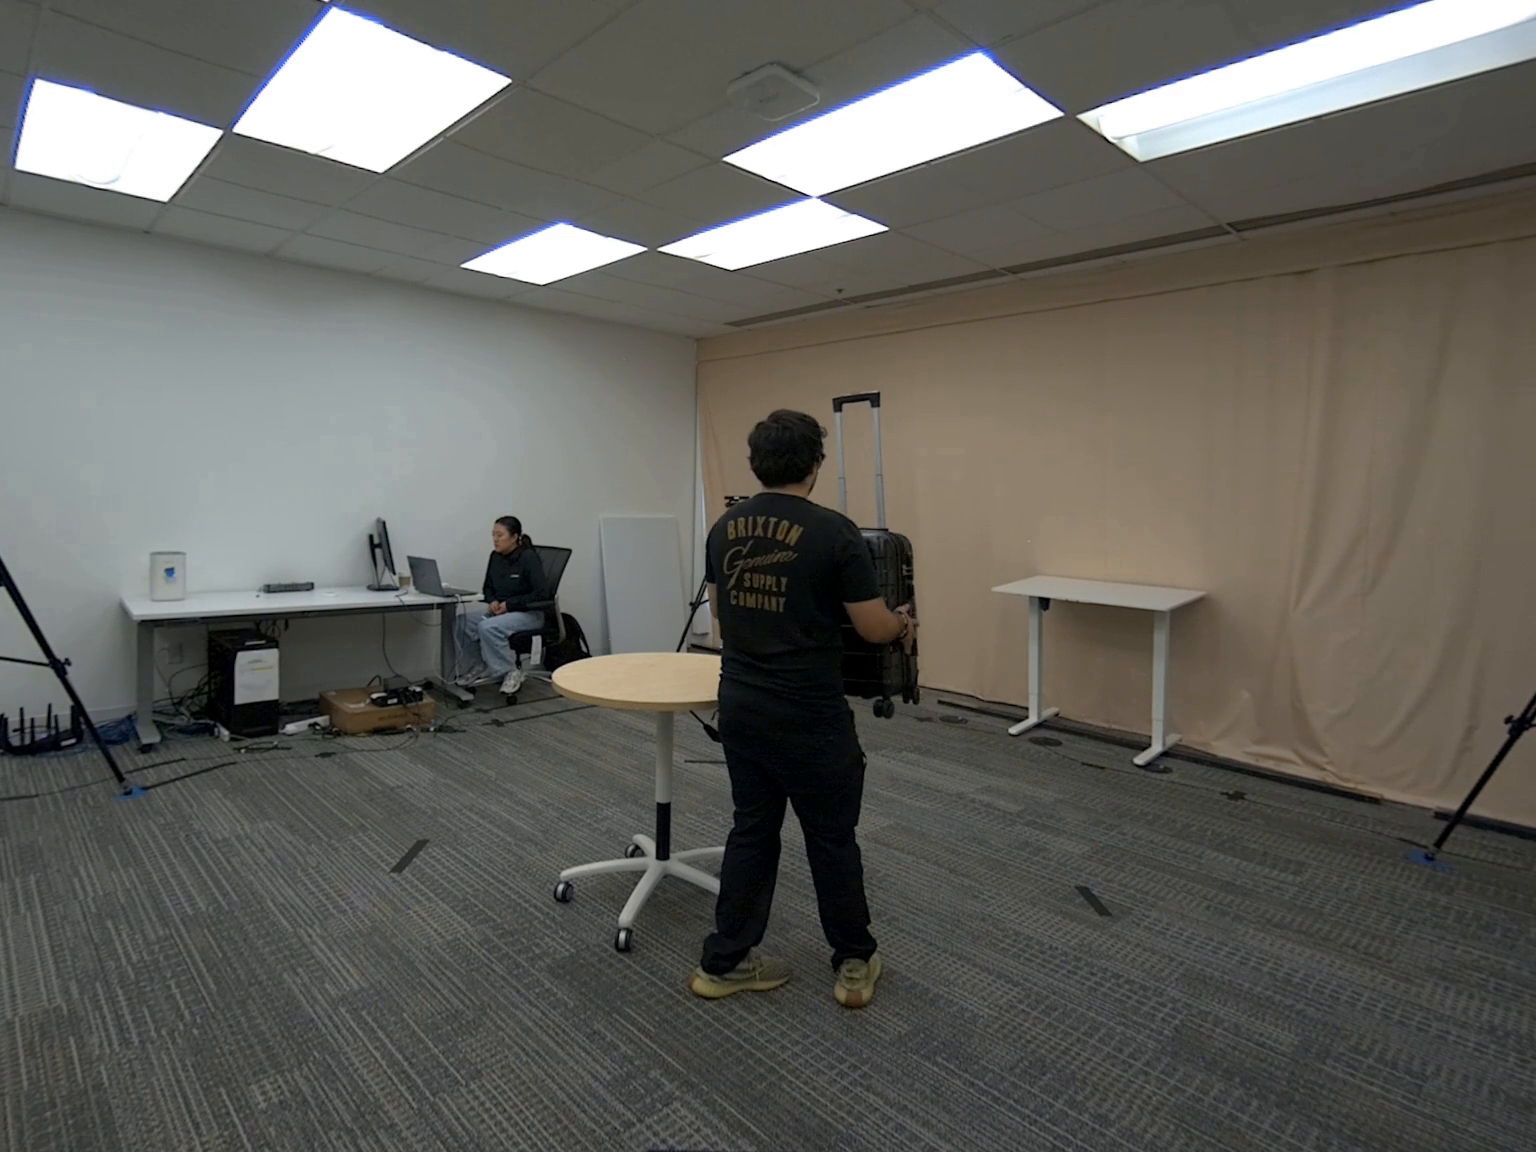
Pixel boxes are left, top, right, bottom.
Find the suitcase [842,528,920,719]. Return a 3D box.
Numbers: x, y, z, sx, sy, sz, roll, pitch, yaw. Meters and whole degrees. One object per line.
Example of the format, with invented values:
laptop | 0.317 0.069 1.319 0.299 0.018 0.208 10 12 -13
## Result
suitcase | 0.250 -0.076 2.606 0.392 0.977 0.252 -2 2 34
